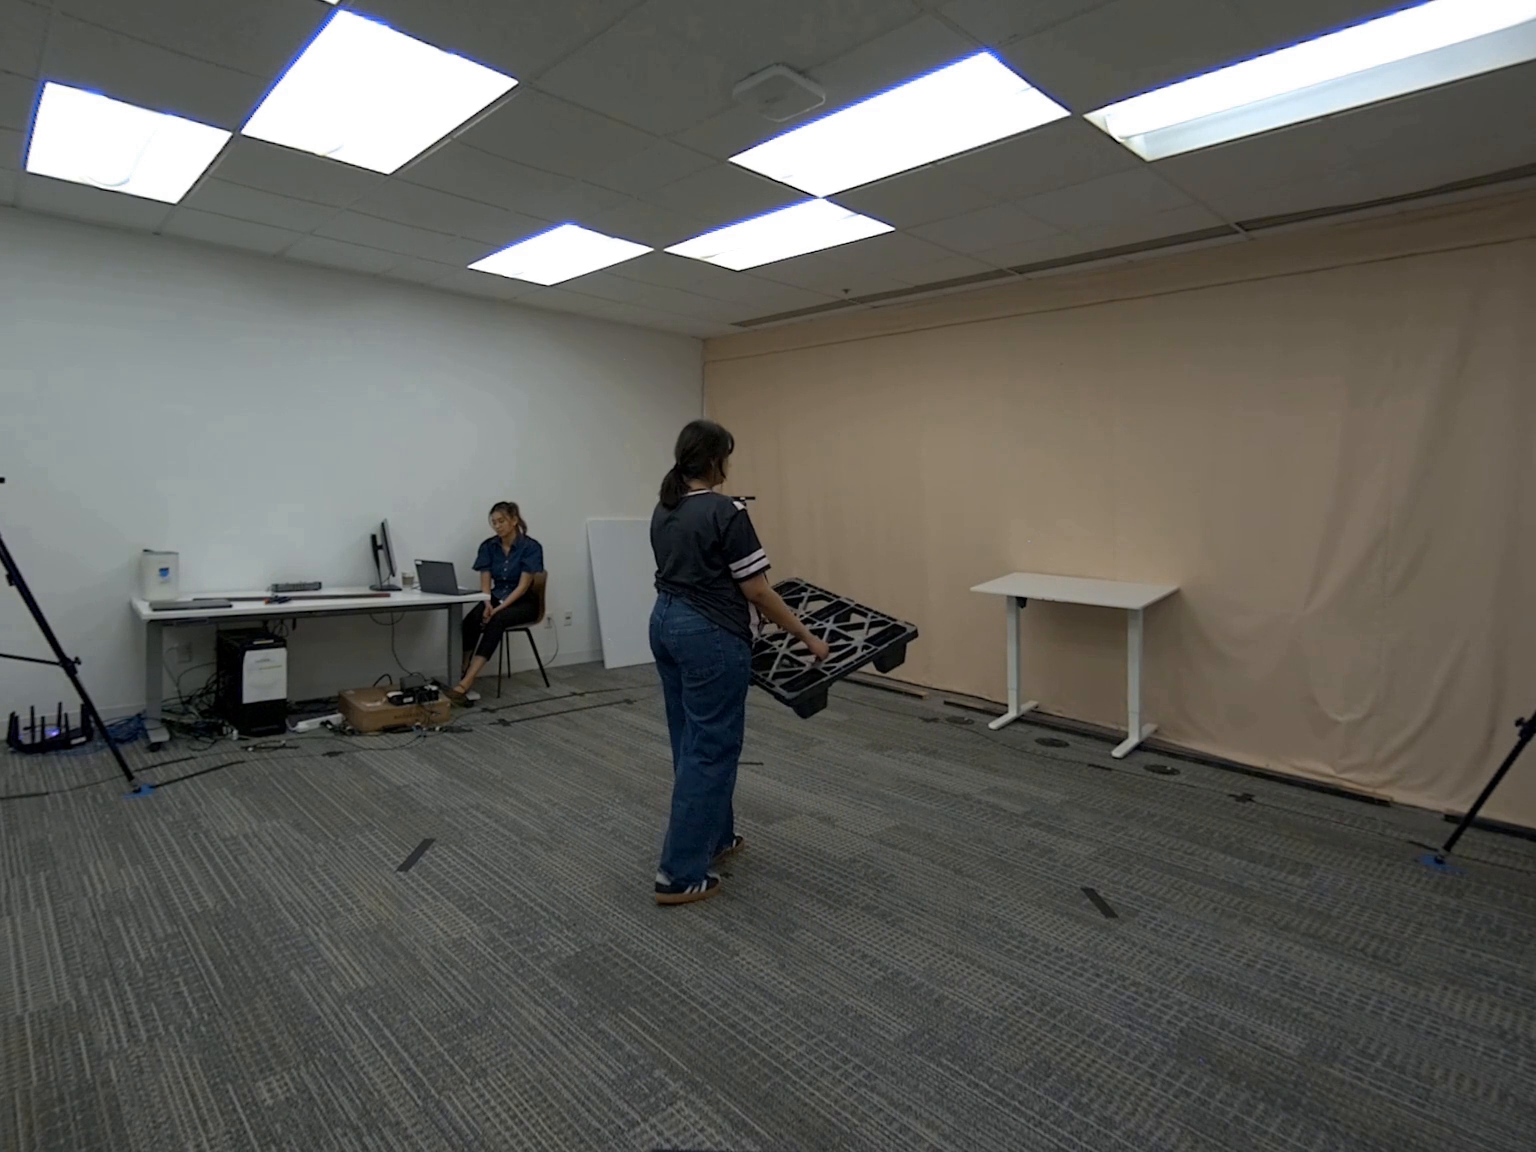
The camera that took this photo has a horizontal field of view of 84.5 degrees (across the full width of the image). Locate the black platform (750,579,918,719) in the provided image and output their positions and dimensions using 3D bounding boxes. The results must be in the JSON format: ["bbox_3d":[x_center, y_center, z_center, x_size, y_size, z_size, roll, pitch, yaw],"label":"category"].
[{"bbox_3d":[0.093,0.264,3.298,0.599,0.141,0.828,-25,25,-26],"label":"black platform"}]
